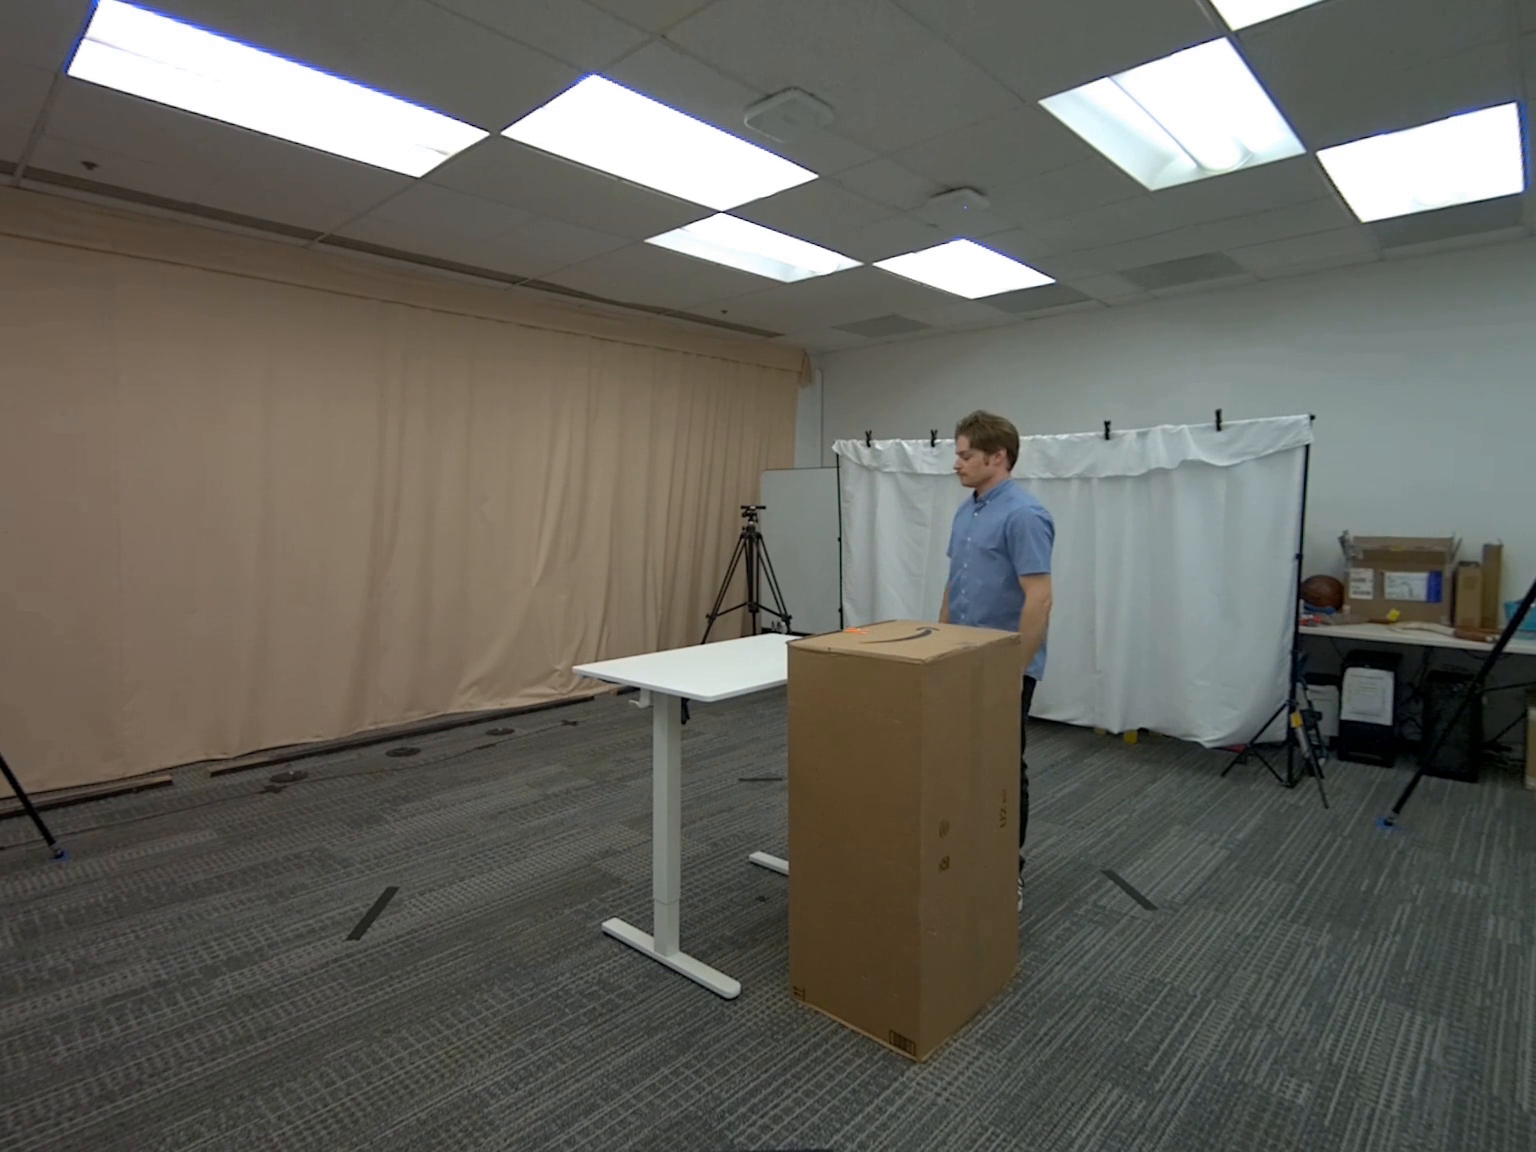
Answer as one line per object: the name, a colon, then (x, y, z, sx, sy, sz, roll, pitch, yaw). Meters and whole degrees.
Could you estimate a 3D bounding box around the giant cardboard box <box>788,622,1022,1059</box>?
giant cardboard box: (0.402, 0.681, 2.414, 0.440, 1.023, 0.560, 3, 5, 42)
